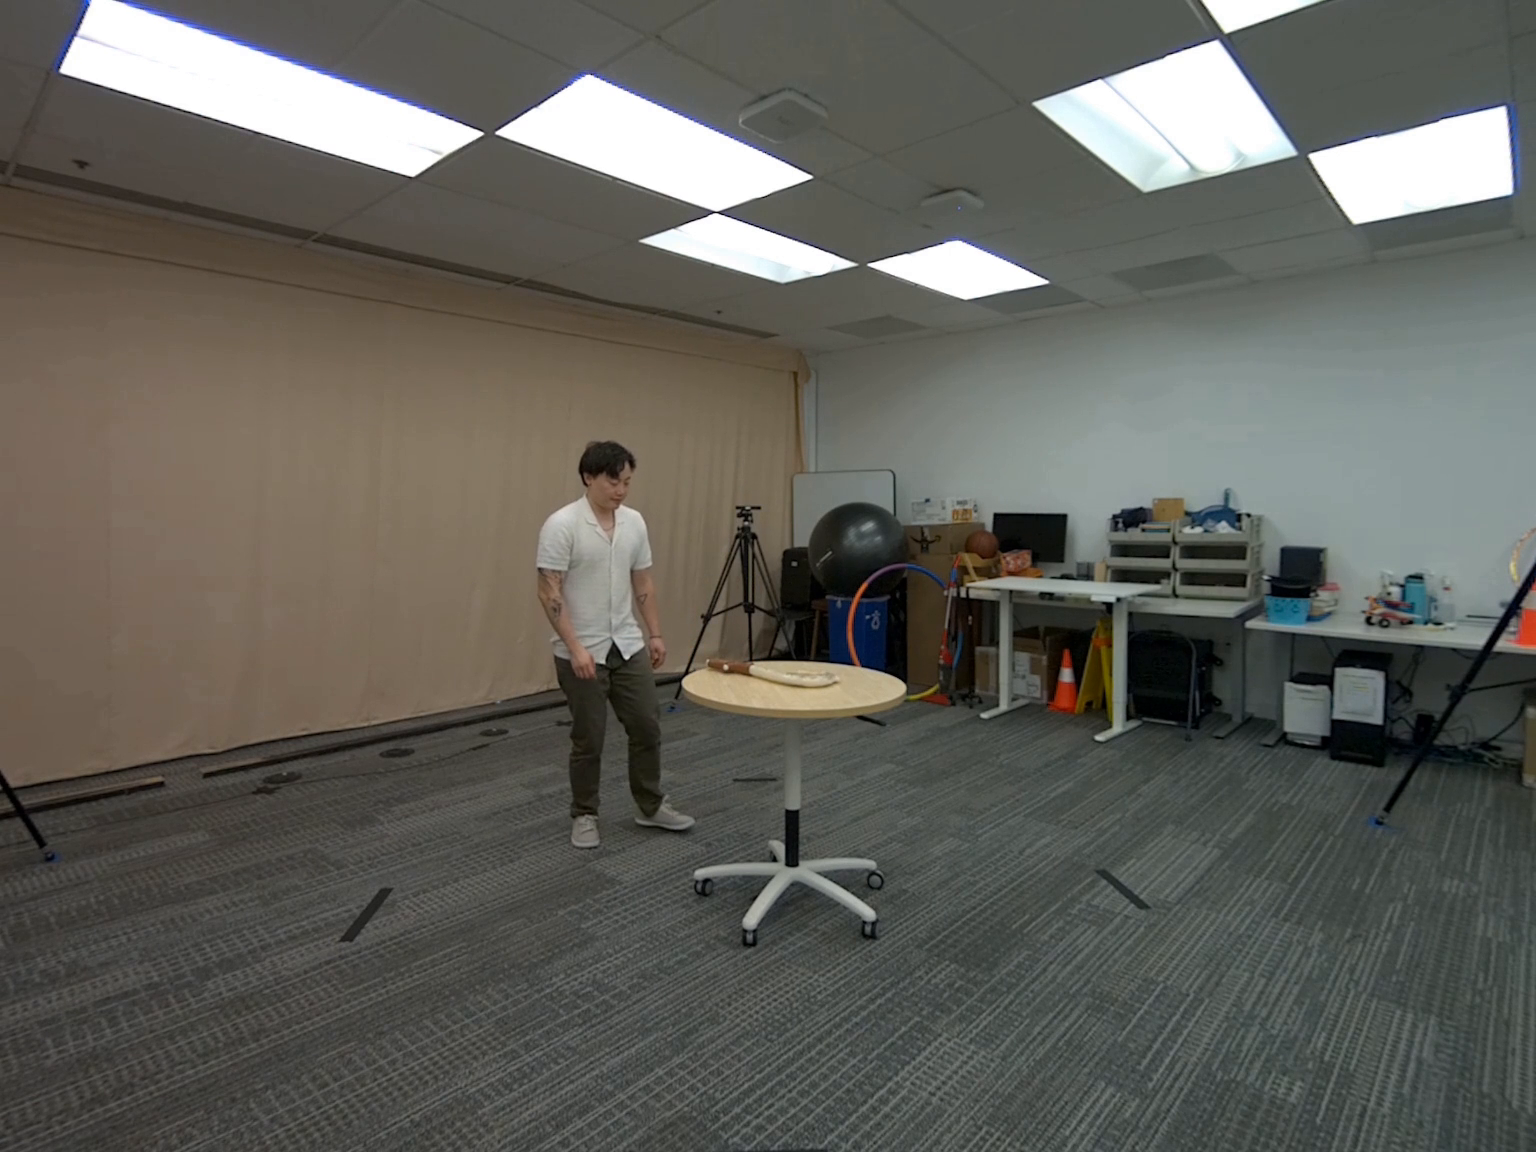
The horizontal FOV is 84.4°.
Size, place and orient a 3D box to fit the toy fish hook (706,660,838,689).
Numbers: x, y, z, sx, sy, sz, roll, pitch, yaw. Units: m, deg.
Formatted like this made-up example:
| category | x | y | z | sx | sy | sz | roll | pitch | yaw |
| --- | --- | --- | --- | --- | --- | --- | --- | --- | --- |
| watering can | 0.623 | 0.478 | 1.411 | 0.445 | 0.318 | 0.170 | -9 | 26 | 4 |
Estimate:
| category | x | y | z | sx | sy | sz | roll | pitch | yaw |
| --- | --- | --- | --- | --- | --- | --- | --- | --- | --- |
| toy fish hook | 0.016 | 0.348 | 3.008 | 0.523 | 0.048 | 0.217 | 5 | -2 | 36 |
